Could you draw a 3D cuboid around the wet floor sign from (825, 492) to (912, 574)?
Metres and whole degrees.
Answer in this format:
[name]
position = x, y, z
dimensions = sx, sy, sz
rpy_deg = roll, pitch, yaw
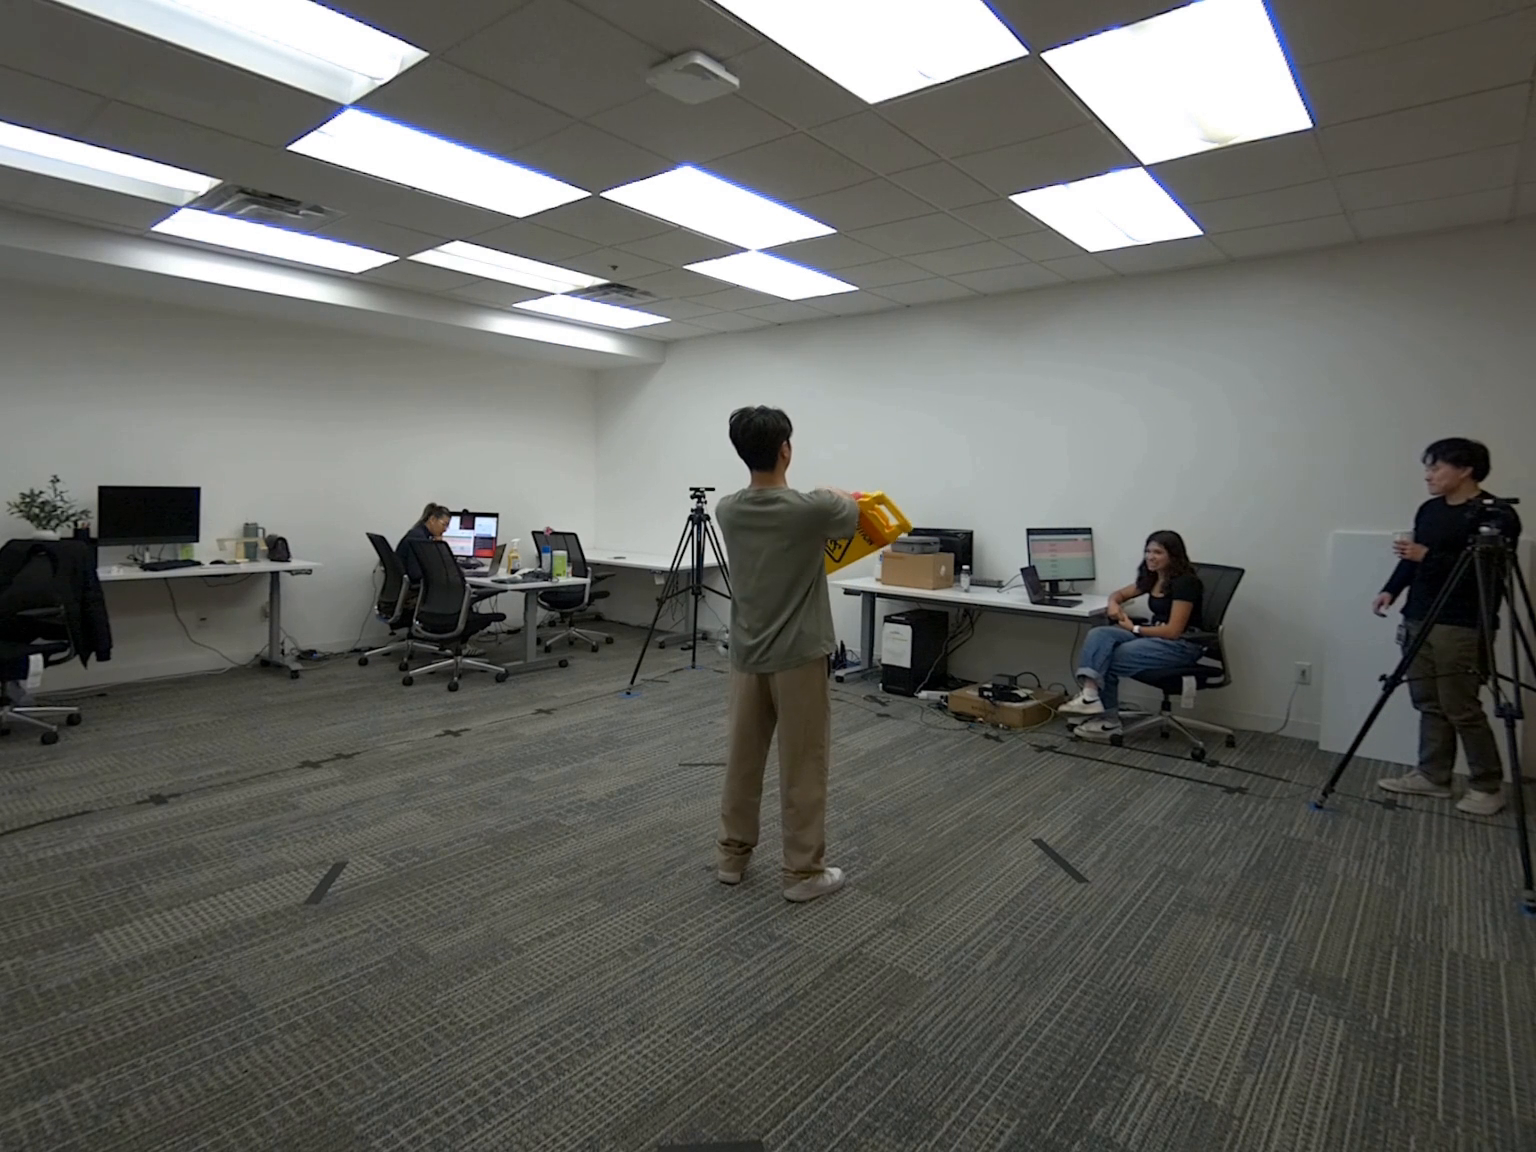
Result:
[wet floor sign]
position = 0.265, -0.175, 3.384
dimensions = 0.658, 0.276, 0.291
rpy_deg = -20, 30, 51
